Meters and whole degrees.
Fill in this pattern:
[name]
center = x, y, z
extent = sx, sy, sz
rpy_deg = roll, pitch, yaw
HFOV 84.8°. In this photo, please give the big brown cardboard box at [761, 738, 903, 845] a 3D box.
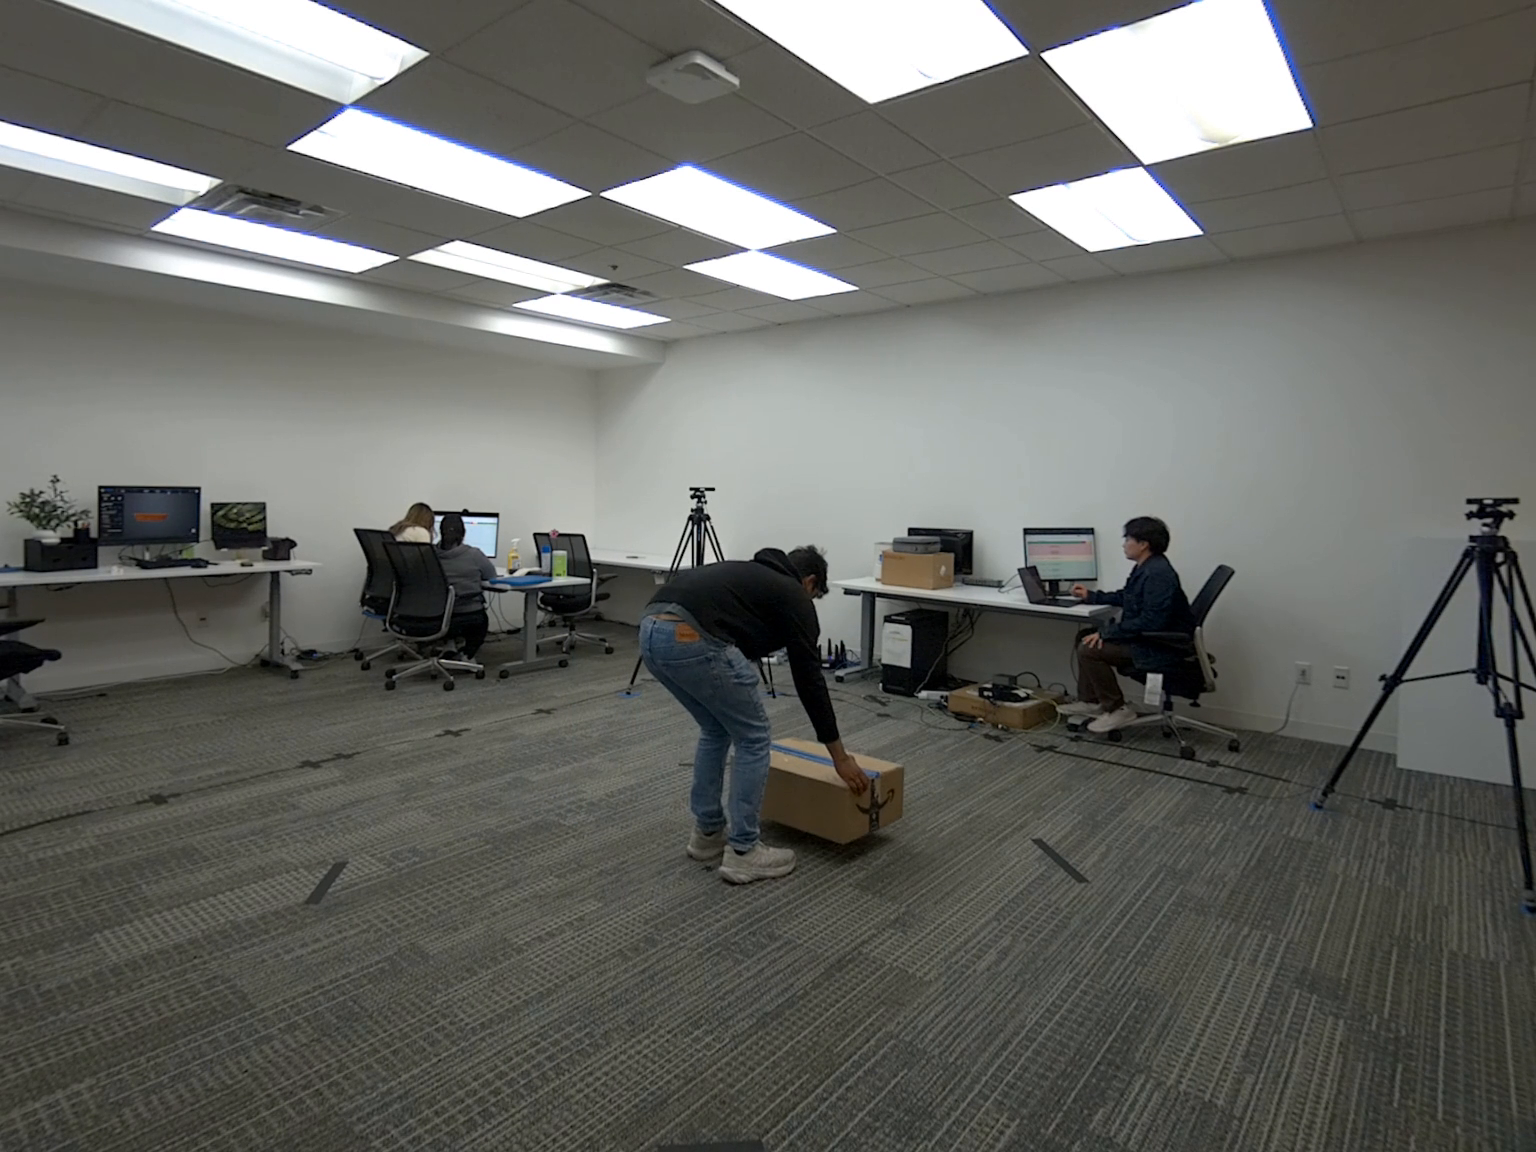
[big brown cardboard box]
center = 0.179, 0.832, 3.447
extent = 0.609, 0.232, 0.405
rpy_deg = 6, 5, 40
